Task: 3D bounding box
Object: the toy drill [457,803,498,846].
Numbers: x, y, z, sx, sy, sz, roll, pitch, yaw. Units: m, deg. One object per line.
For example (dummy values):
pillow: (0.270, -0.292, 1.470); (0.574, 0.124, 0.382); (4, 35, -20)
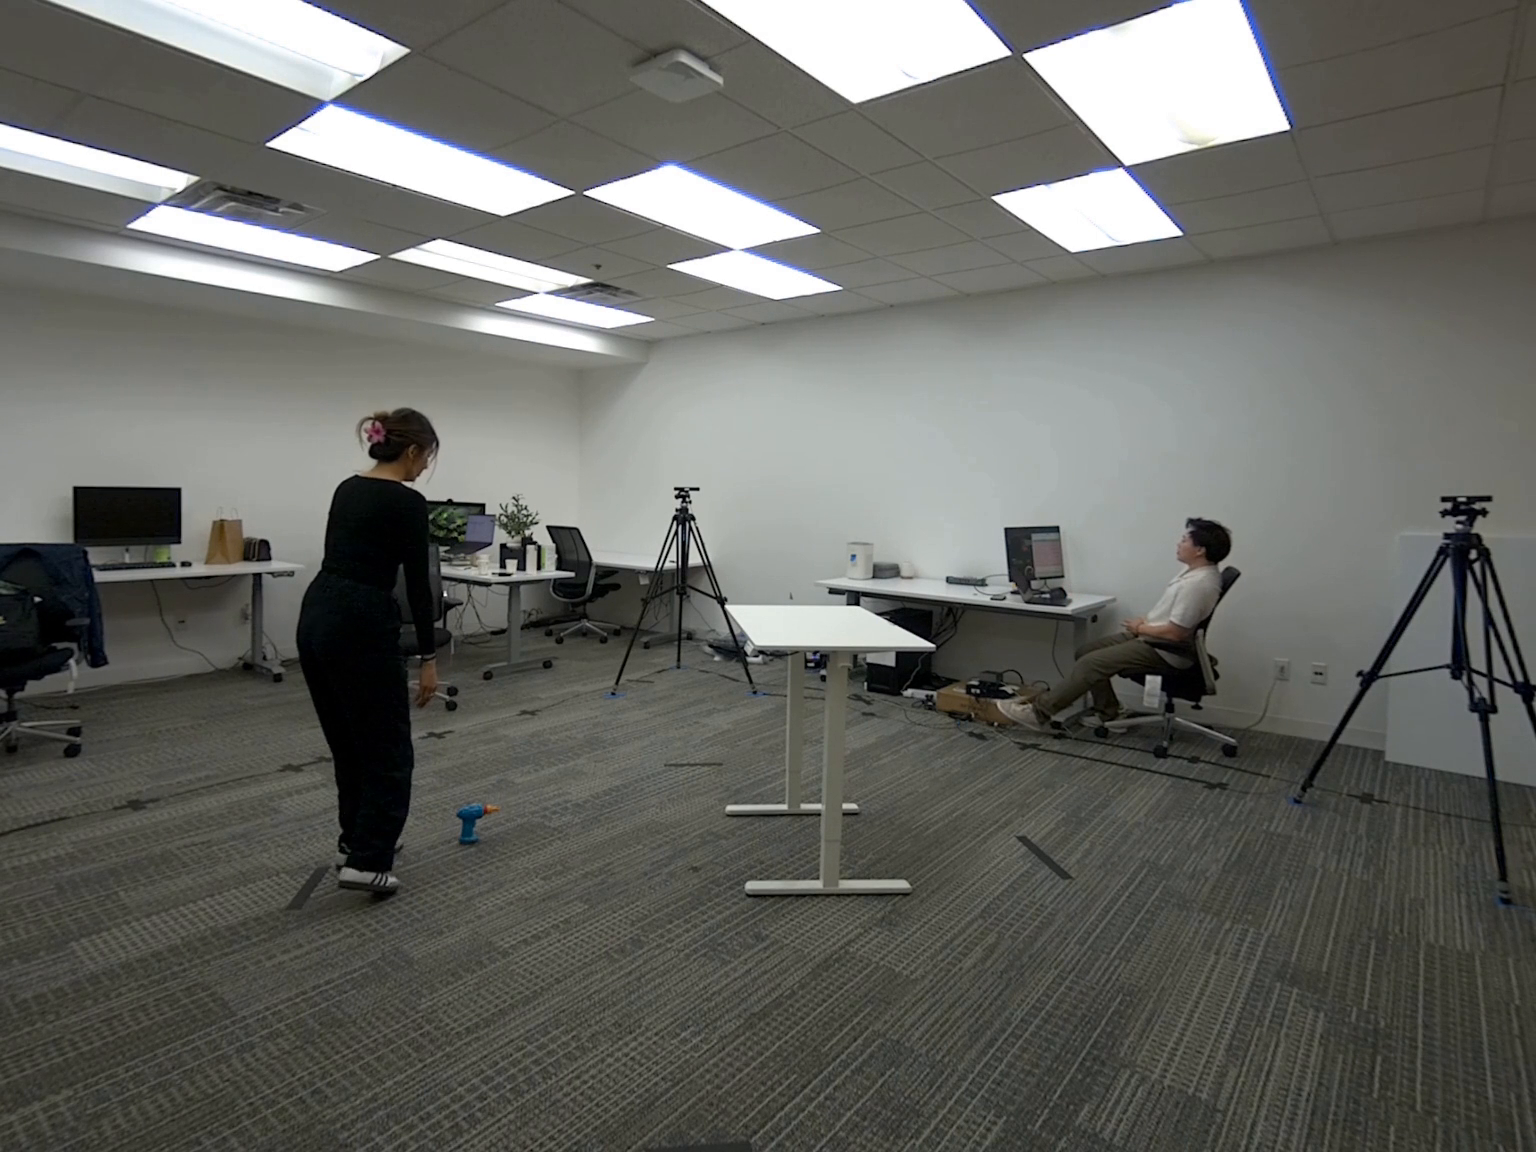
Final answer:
toy drill: (-1.149, 0.959, 3.327); (0.165, 0.146, 0.063); (-1, 1, -33)
